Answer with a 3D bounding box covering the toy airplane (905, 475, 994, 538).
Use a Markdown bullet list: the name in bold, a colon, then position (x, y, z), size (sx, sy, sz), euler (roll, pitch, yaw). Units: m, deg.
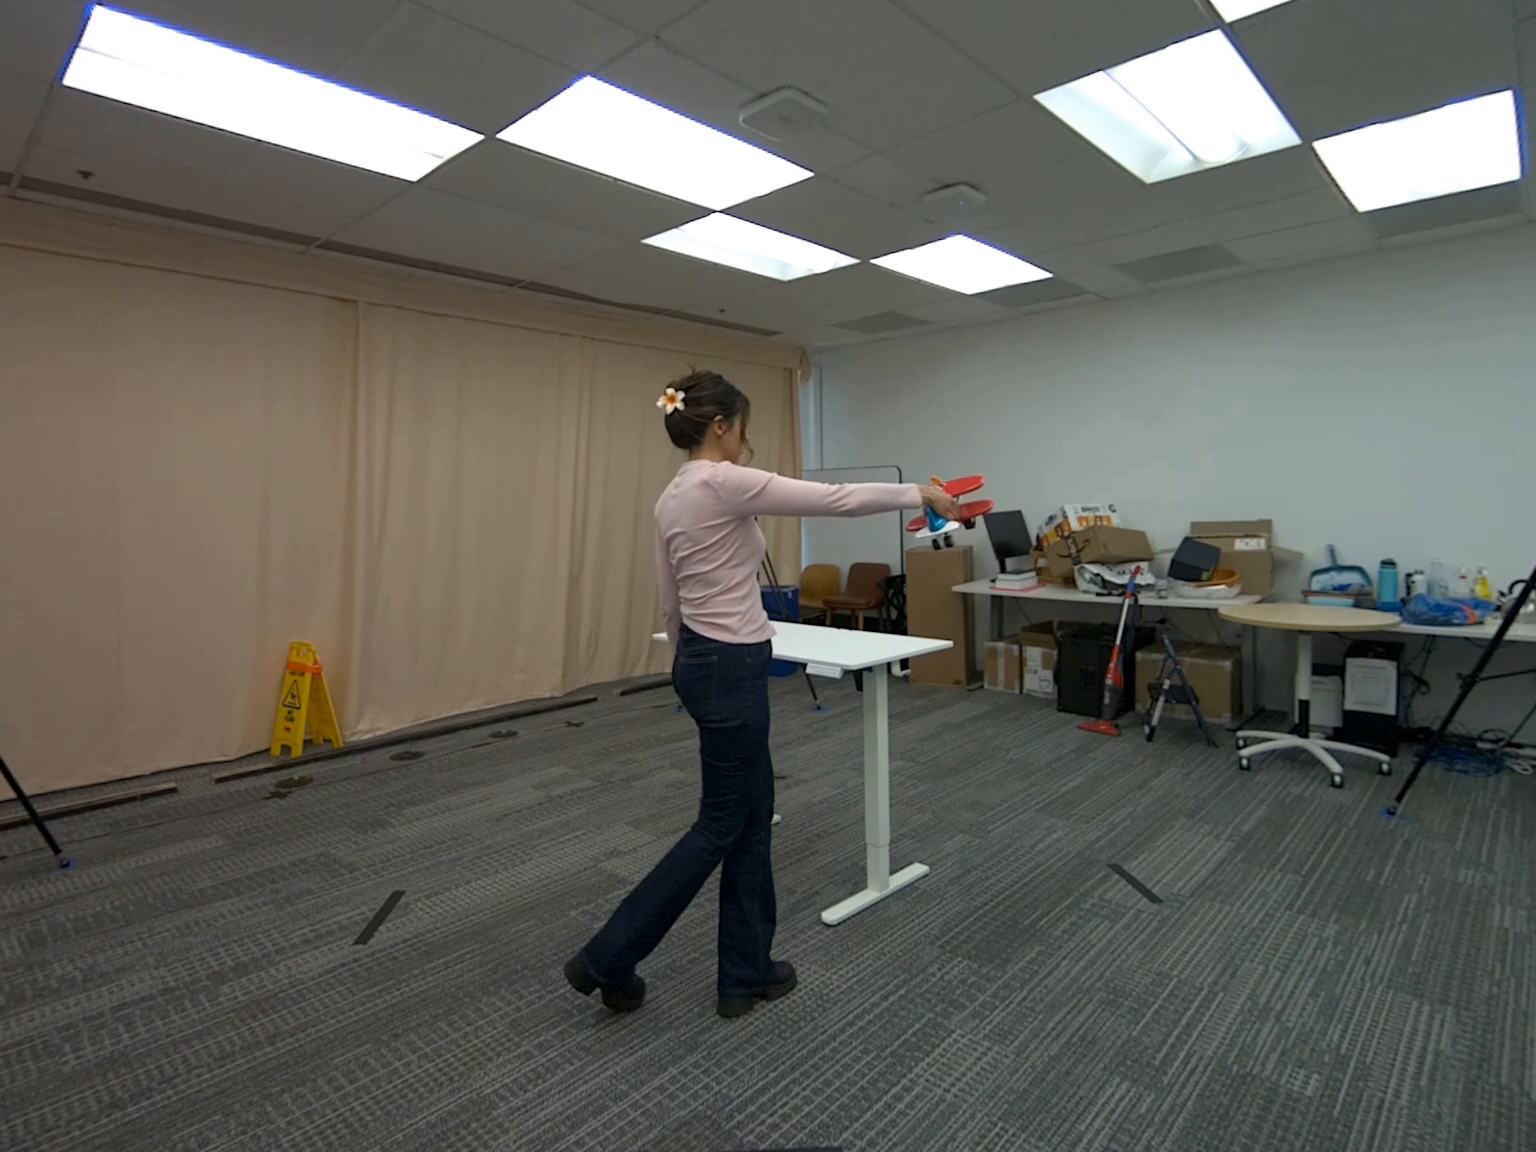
- **toy airplane**: position (0.520, -0.178, 2.358), size (0.251, 0.155, 0.261), euler (-19, 9, 1)
